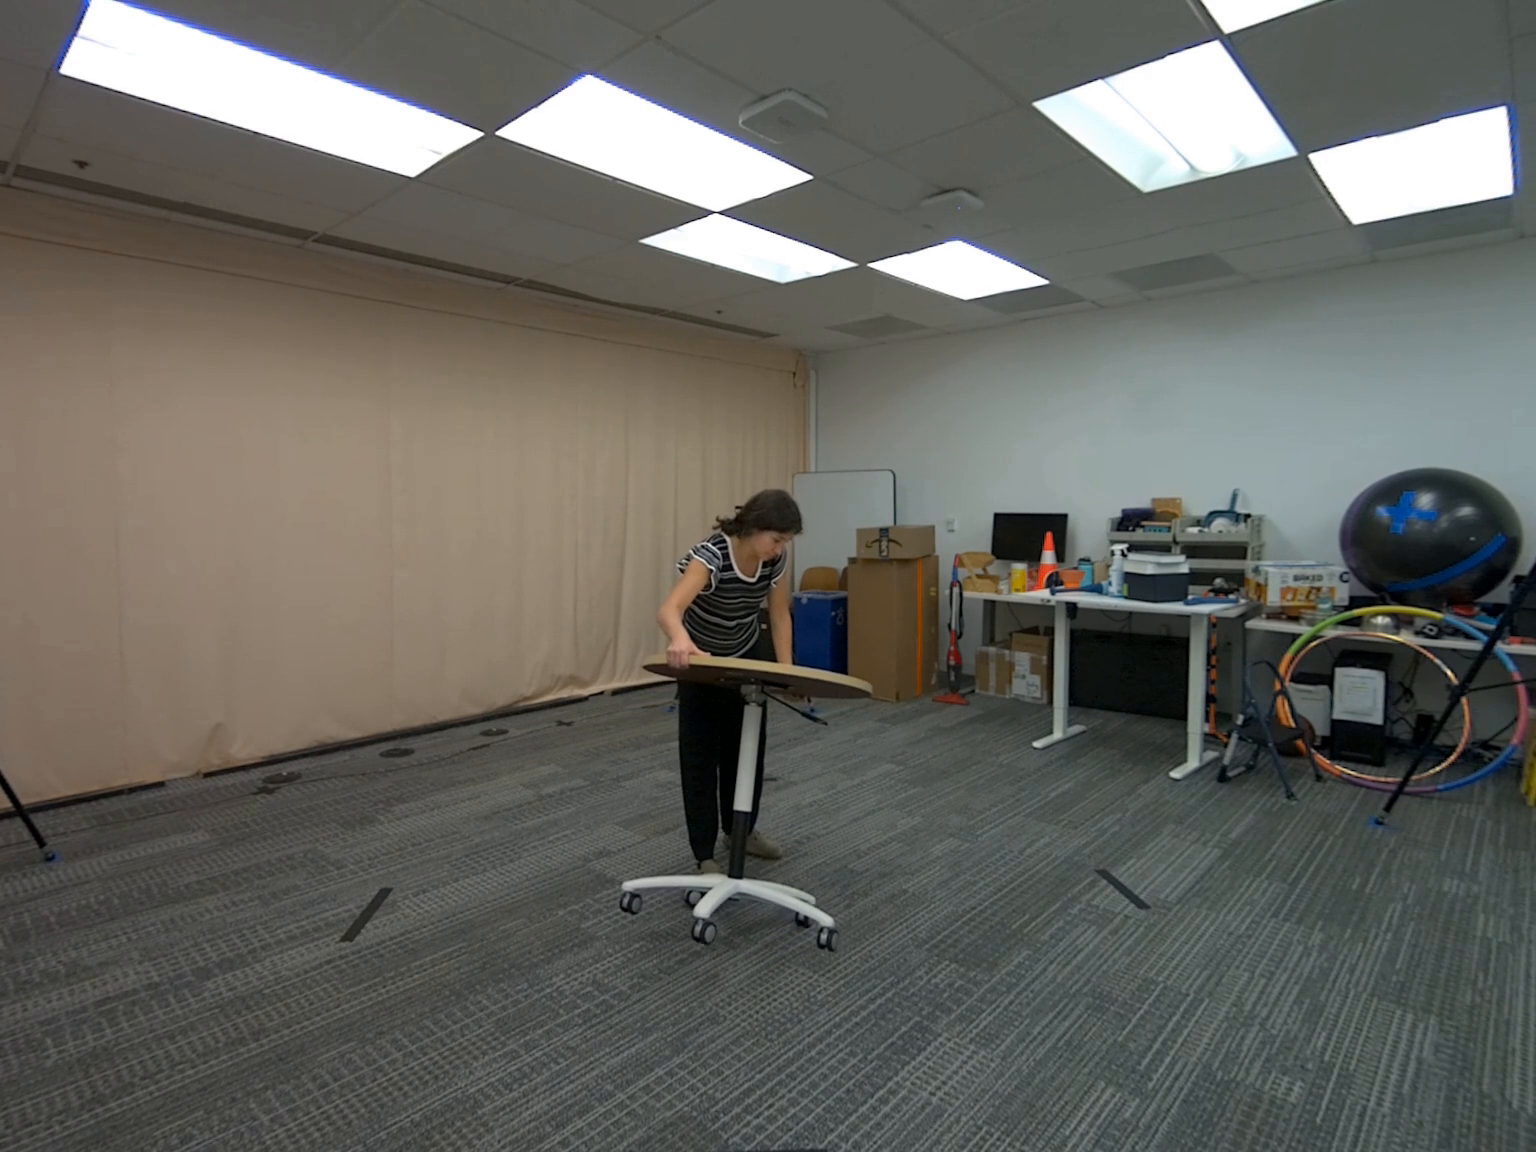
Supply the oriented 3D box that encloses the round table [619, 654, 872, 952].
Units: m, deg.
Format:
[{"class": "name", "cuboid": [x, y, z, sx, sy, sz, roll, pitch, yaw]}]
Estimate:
[{"class": "round table", "cuboid": [-0.079, 0.714, 2.719, 0.765, 0.799, 0.758, 7, -13, 0]}]
